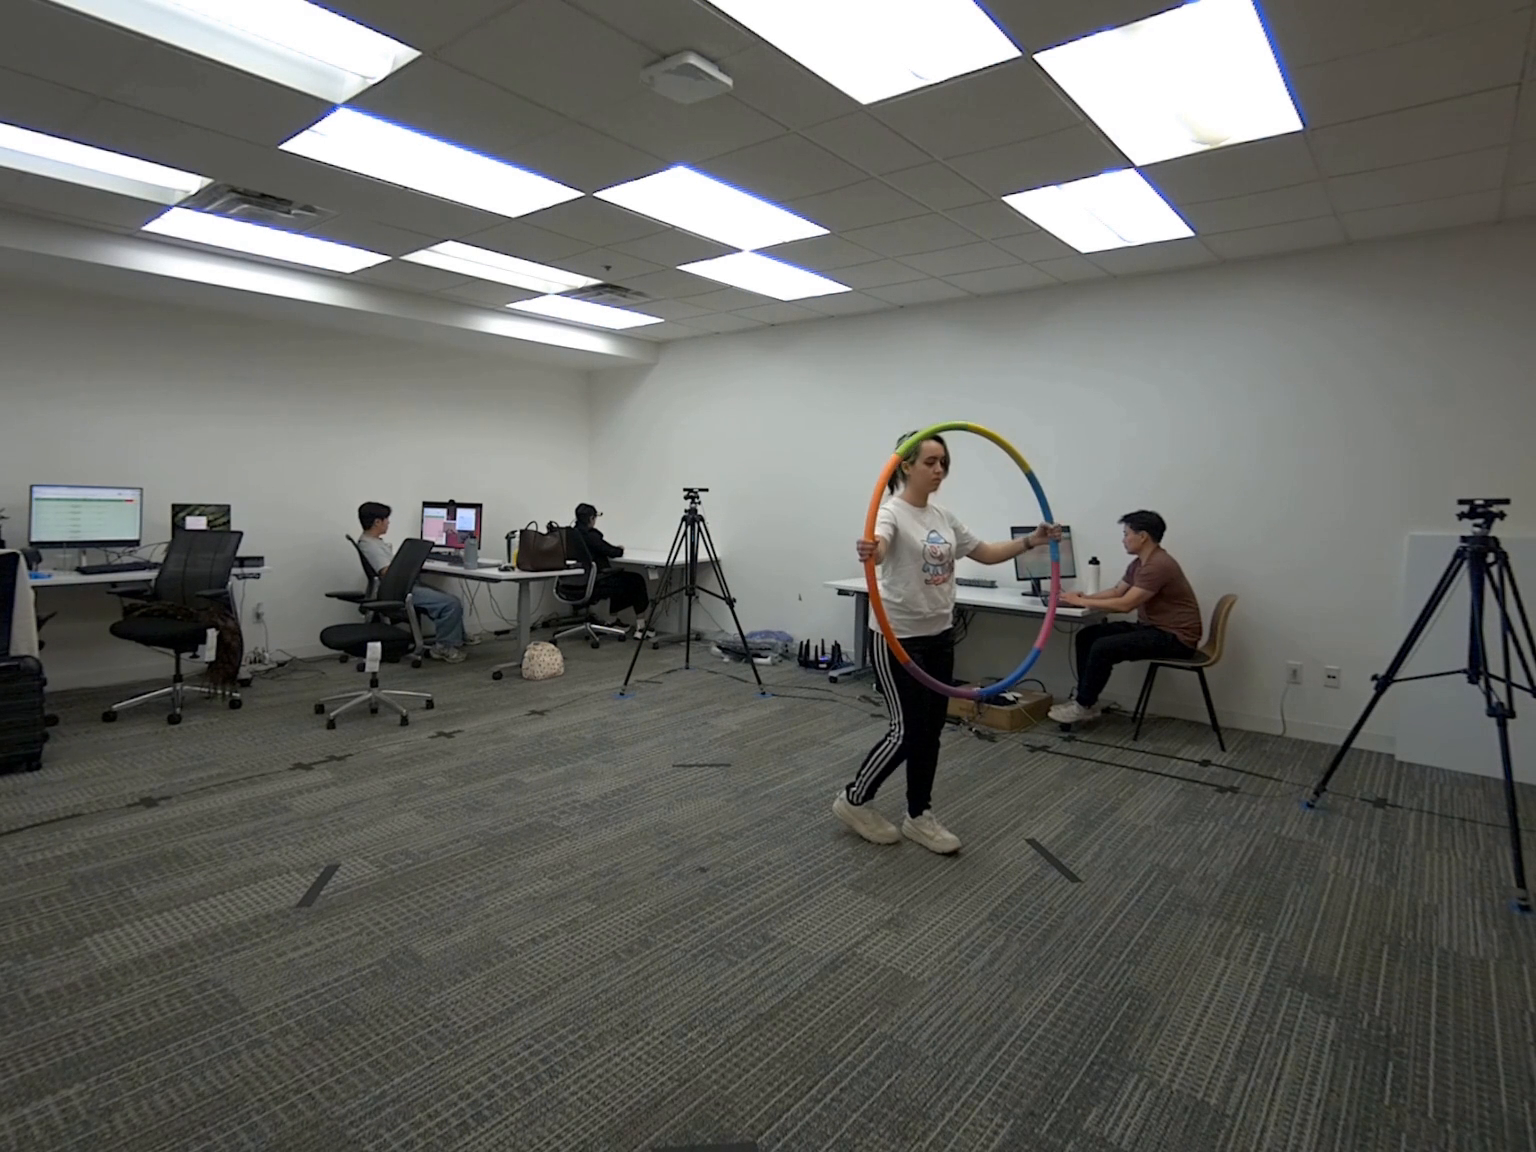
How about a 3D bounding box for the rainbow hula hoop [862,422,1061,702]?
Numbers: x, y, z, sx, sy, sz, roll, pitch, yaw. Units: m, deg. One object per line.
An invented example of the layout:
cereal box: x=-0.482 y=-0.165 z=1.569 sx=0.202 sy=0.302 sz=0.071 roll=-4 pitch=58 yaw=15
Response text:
rainbow hula hoop: x=0.701 y=-0.060 z=3.008 sx=0.951 sy=0.982 sz=0.036 roll=-2 pitch=-4 yaw=-34
